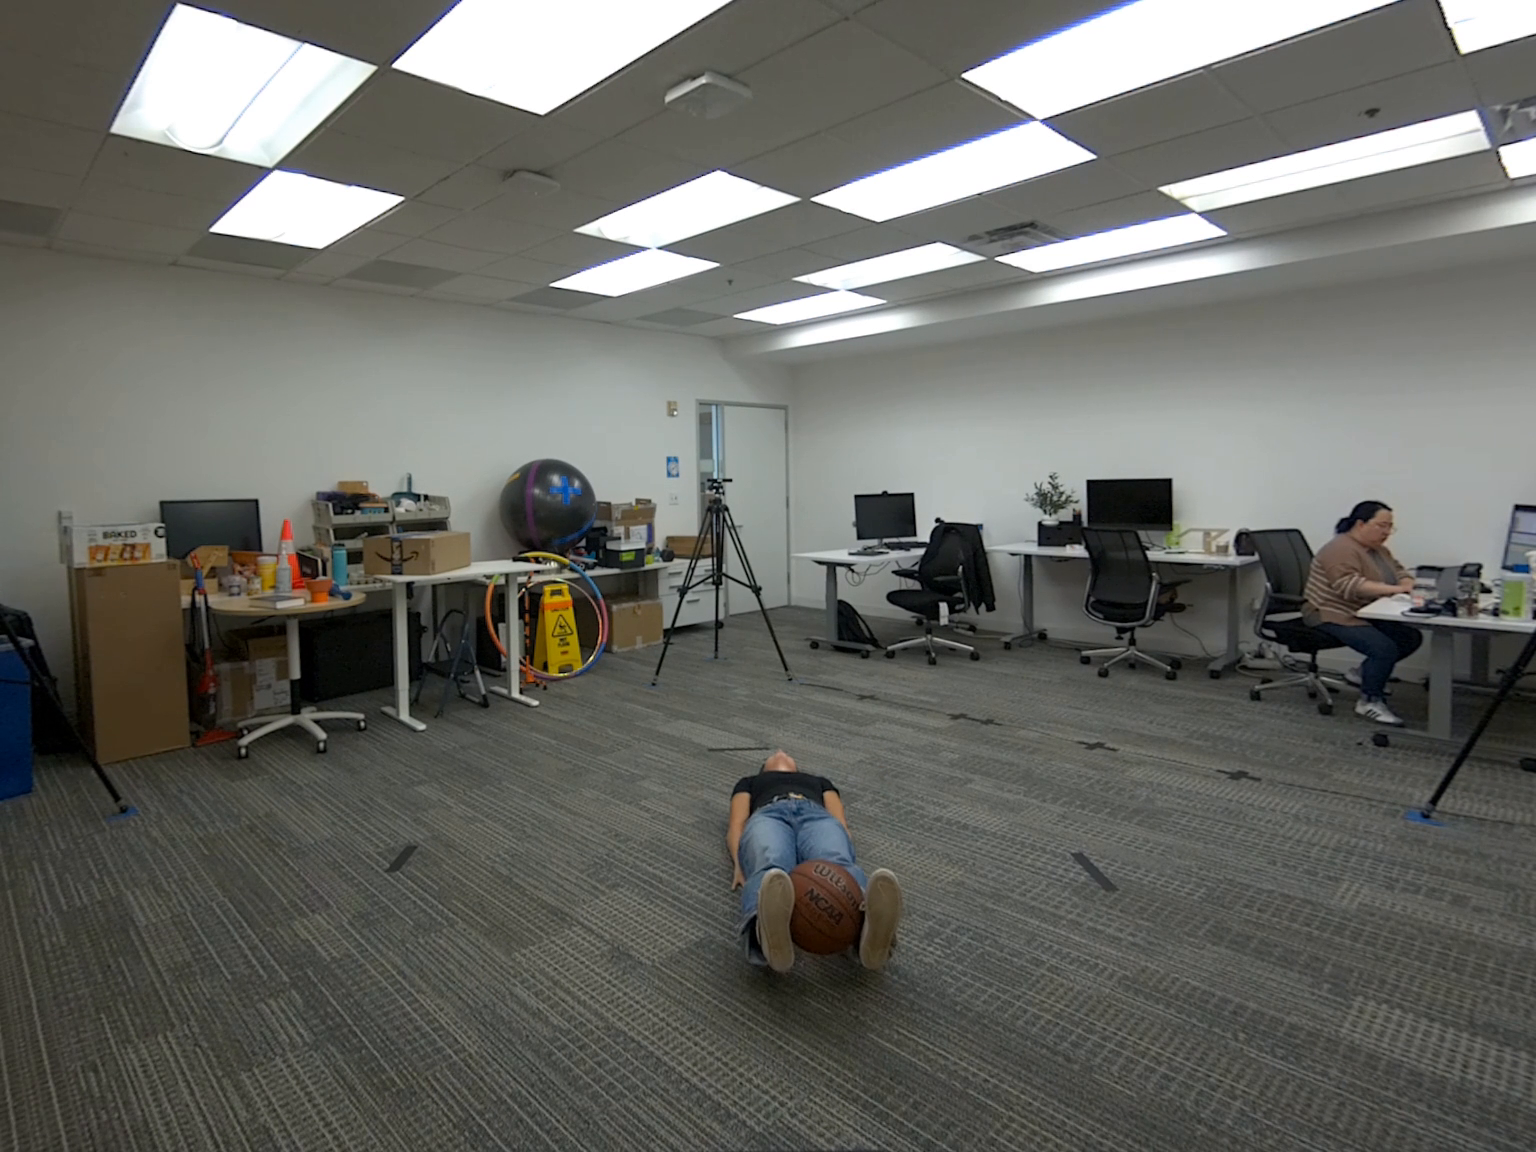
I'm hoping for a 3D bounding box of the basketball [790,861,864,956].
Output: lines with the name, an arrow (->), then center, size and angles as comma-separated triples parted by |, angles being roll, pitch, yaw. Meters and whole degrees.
basketball -> 0.149, 0.893, 2.326 | 0.236, 0.235, 0.237 | -1, 5, -2
